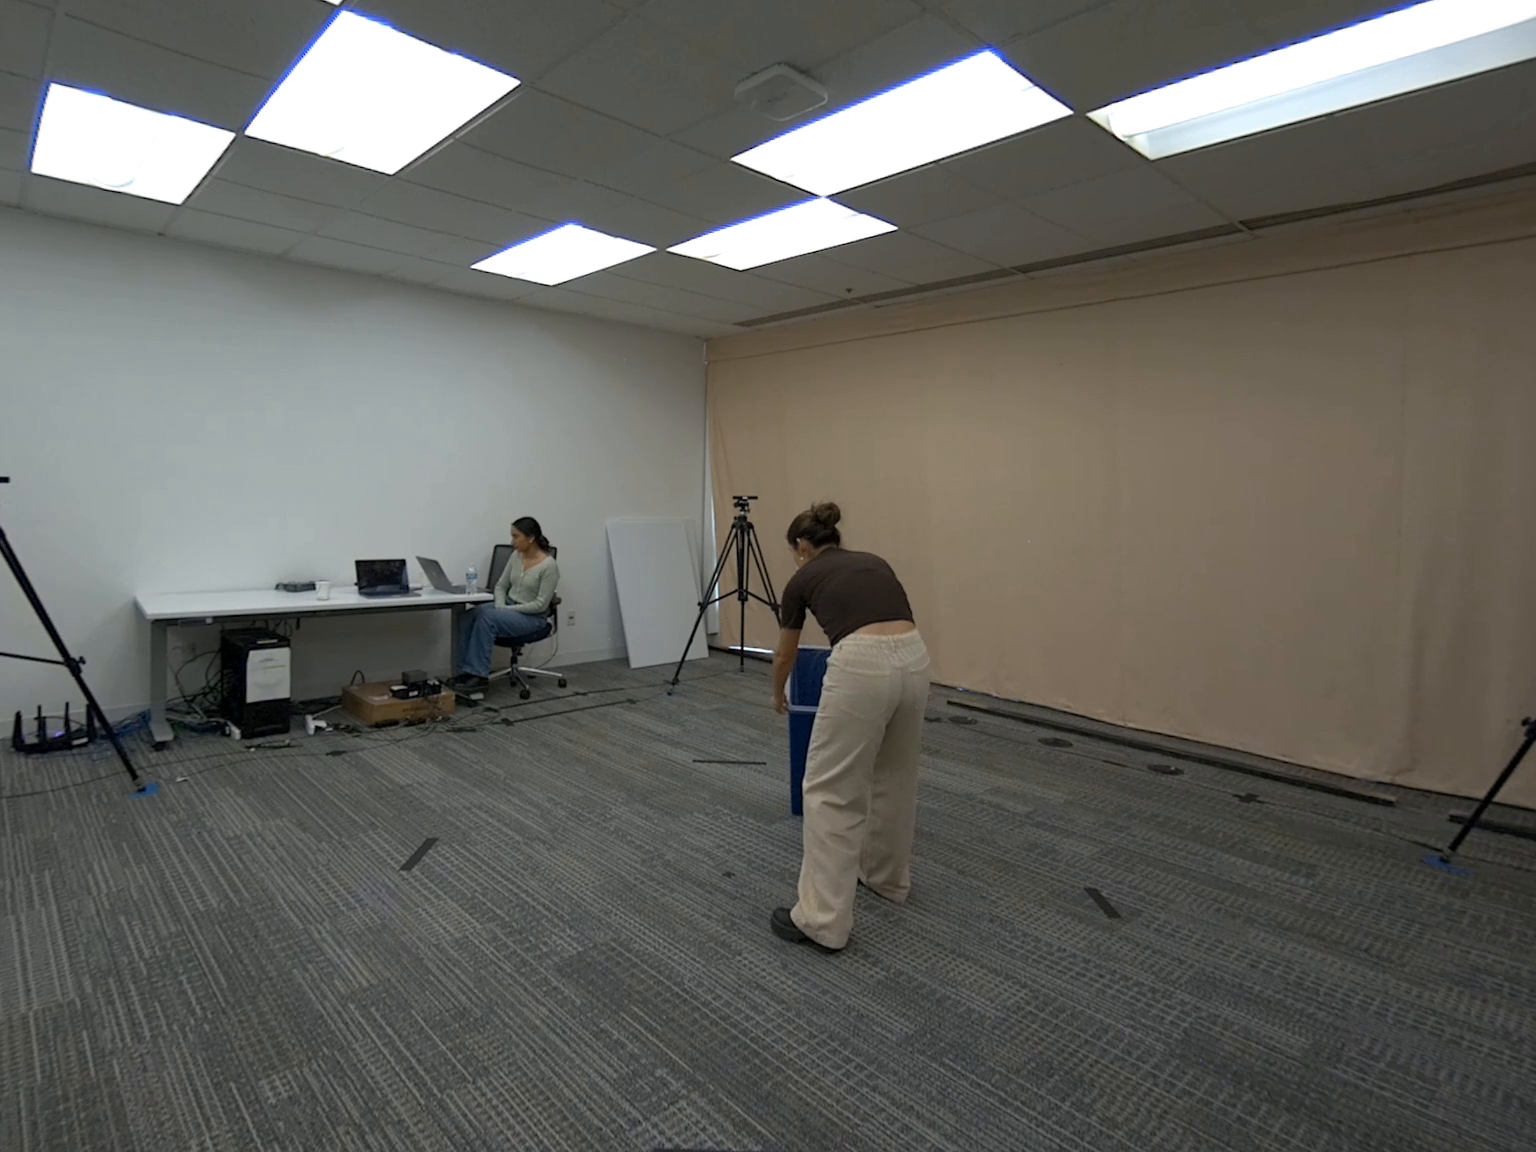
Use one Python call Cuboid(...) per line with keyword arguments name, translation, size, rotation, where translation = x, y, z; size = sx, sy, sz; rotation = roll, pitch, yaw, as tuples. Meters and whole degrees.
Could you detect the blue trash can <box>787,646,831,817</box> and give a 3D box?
Cuboid(name="blue trash can", translation=(0.249, 0.693, 3.601), size=(0.379, 0.698, 0.381), rotation=(1, 36, 3))
